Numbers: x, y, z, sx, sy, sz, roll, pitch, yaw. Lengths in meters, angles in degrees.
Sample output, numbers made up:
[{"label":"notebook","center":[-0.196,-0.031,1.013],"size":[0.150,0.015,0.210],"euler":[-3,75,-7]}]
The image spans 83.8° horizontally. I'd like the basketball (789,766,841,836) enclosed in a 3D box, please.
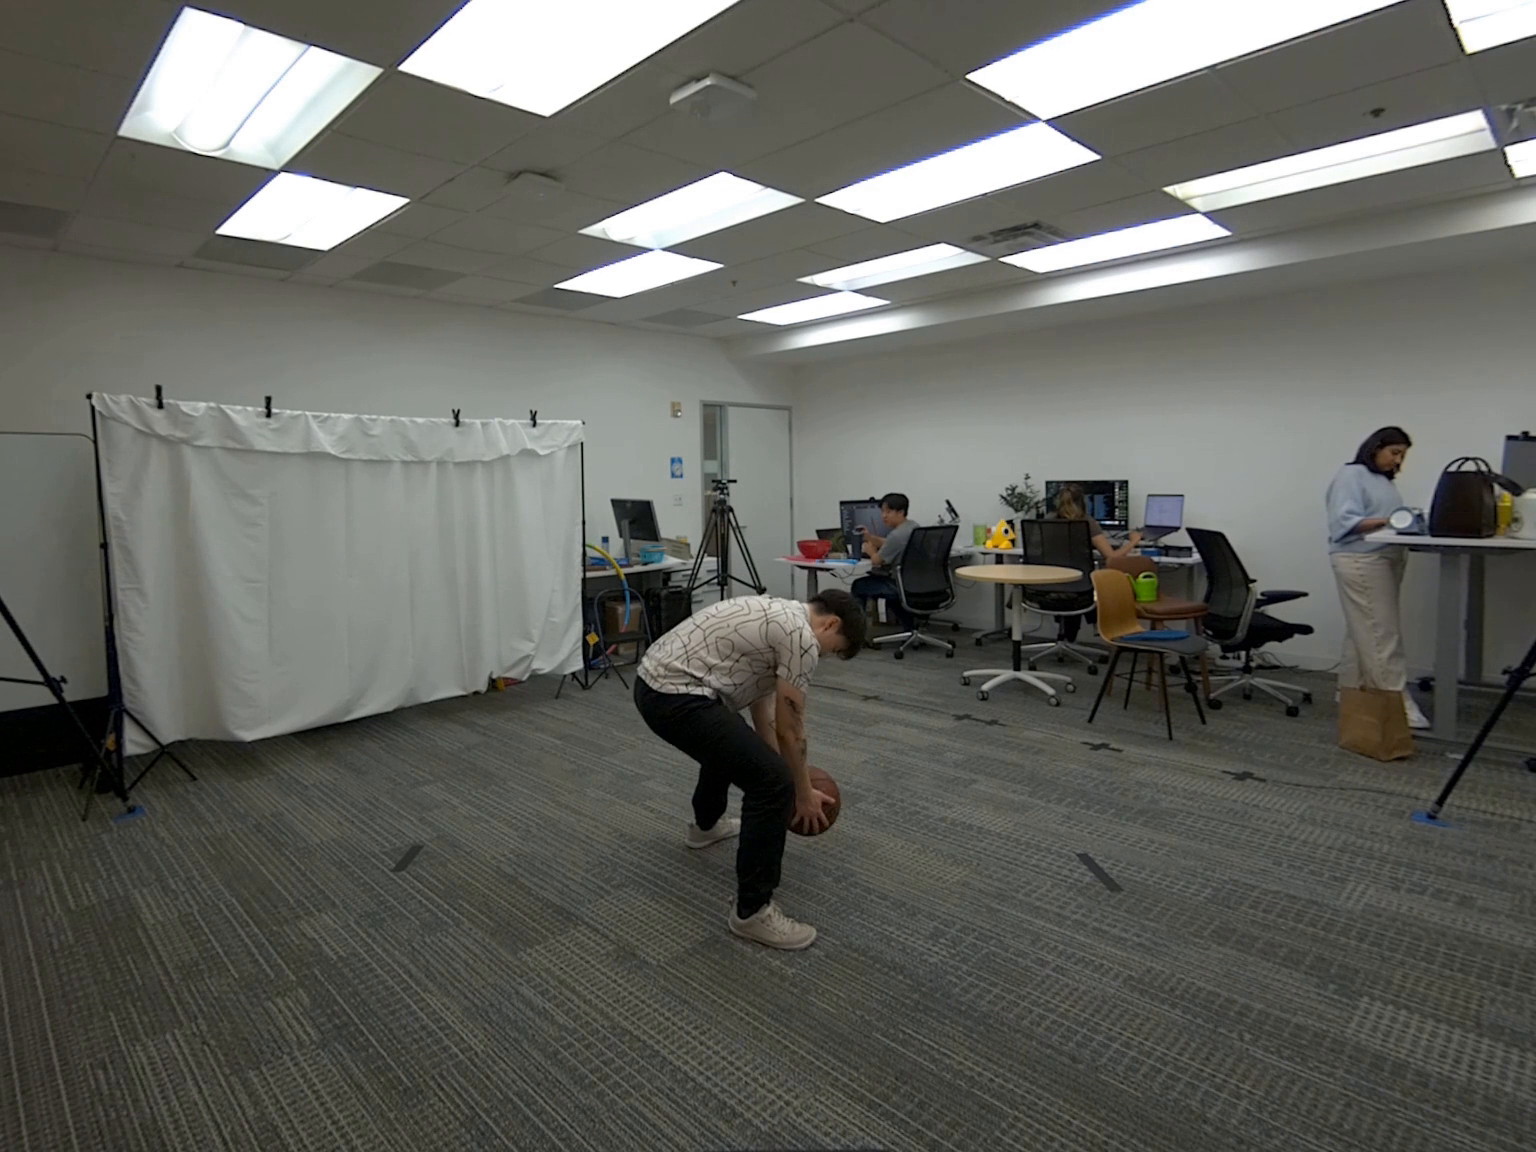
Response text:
[{"label":"basketball","center":[0.147,0.782,3.021],"size":[0.236,0.235,0.237],"euler":[-1,5,-2]}]
